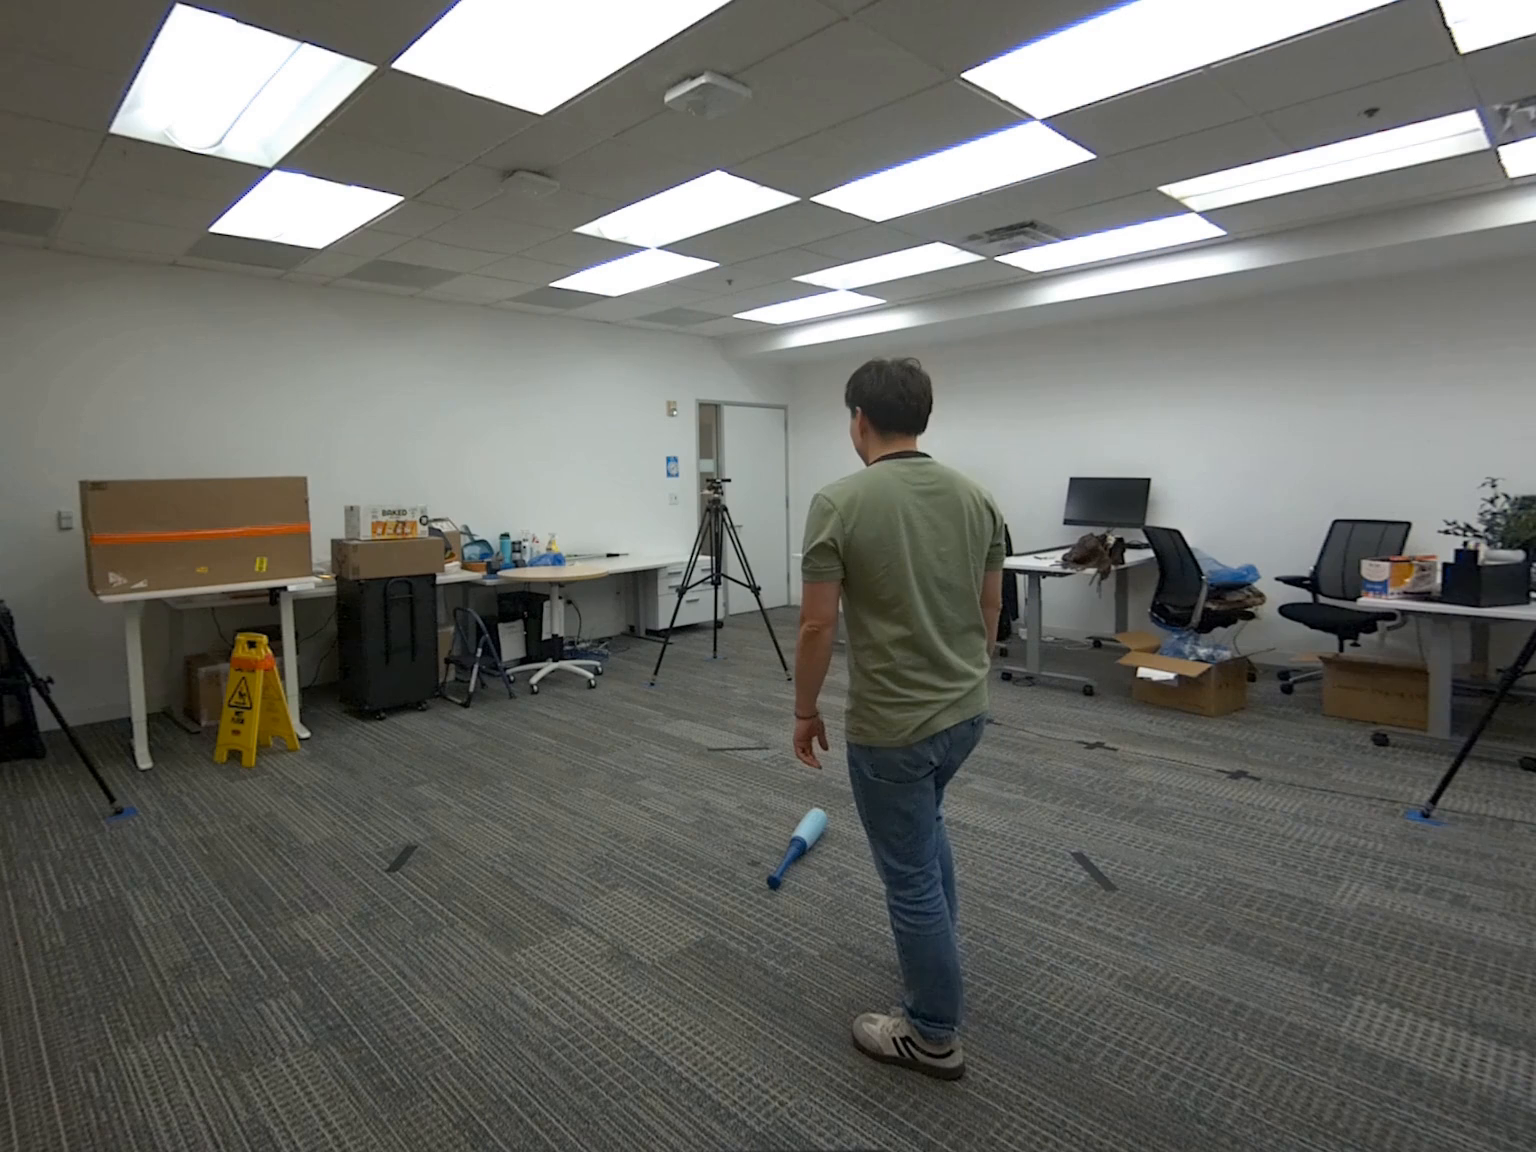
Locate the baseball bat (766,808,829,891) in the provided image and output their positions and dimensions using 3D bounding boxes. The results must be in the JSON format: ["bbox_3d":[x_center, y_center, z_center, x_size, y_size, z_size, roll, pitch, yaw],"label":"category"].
[{"bbox_3d":[0.111,1.000,3.146,0.091,0.088,0.537,1,10,19],"label":"baseball bat"}]
